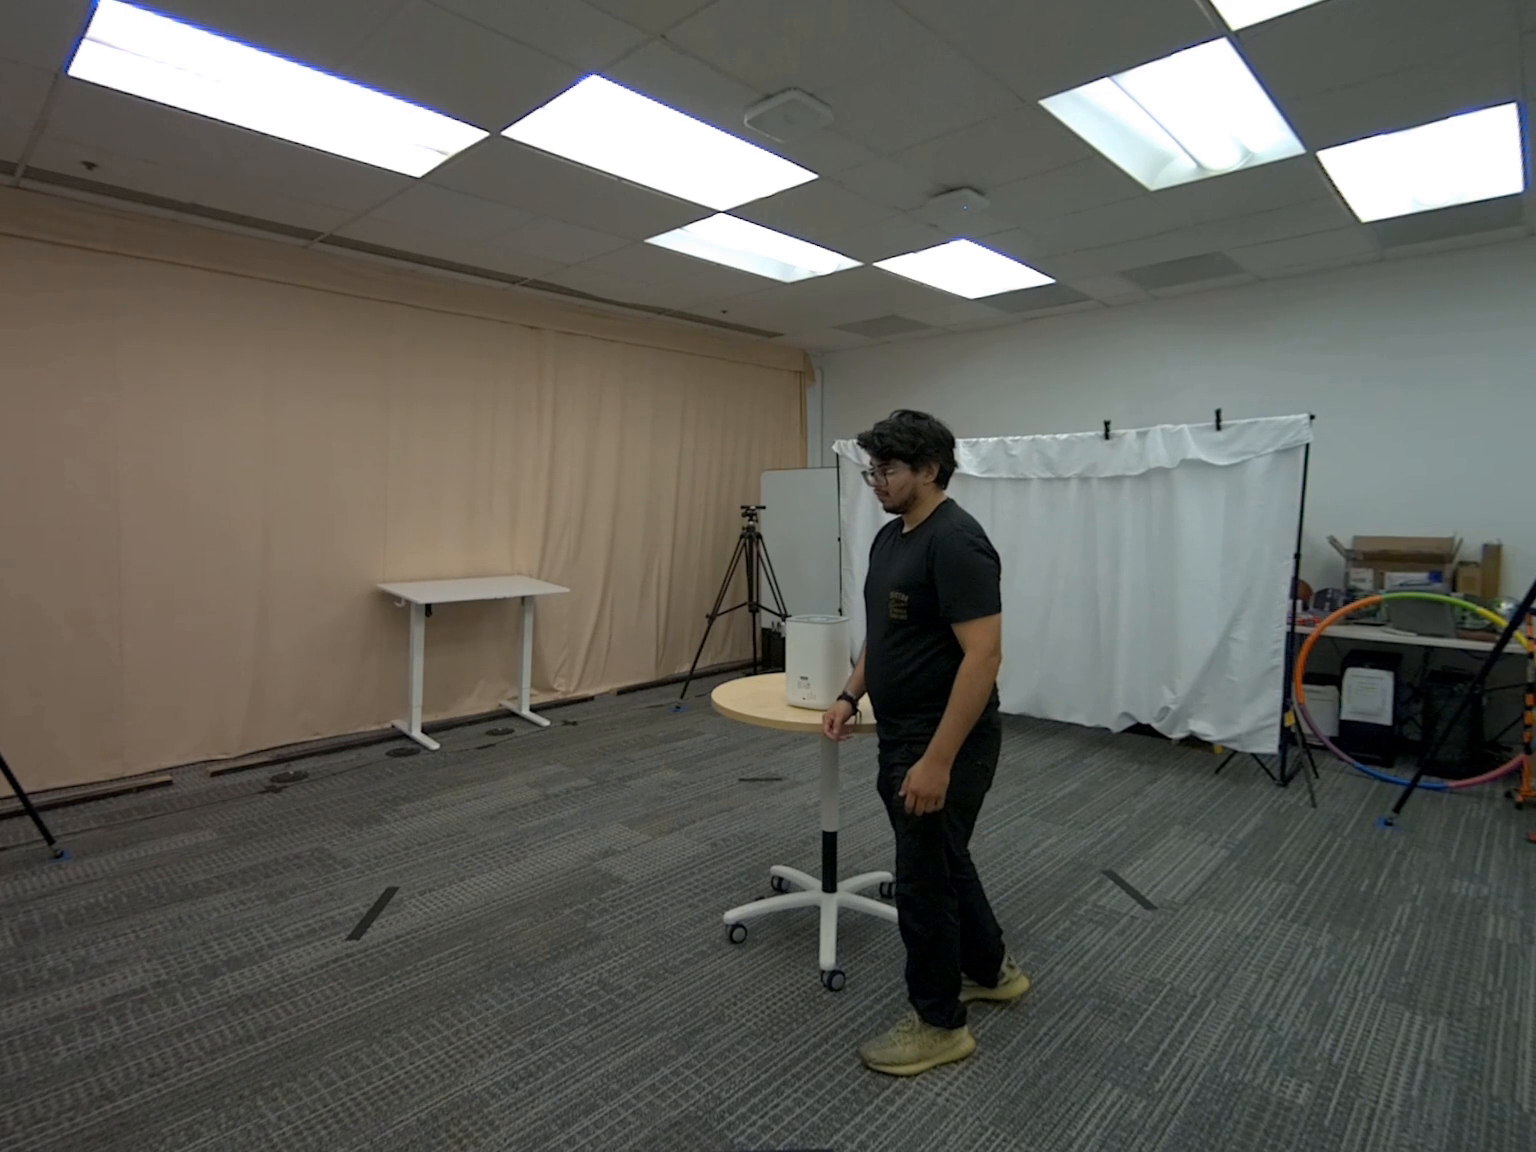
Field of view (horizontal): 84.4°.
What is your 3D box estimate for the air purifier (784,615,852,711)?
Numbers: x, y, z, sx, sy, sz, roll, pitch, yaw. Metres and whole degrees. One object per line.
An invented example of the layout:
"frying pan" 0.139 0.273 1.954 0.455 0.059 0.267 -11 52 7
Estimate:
"air purifier" 0.162 0.263 2.552 0.176 0.265 0.167 1 3 32
